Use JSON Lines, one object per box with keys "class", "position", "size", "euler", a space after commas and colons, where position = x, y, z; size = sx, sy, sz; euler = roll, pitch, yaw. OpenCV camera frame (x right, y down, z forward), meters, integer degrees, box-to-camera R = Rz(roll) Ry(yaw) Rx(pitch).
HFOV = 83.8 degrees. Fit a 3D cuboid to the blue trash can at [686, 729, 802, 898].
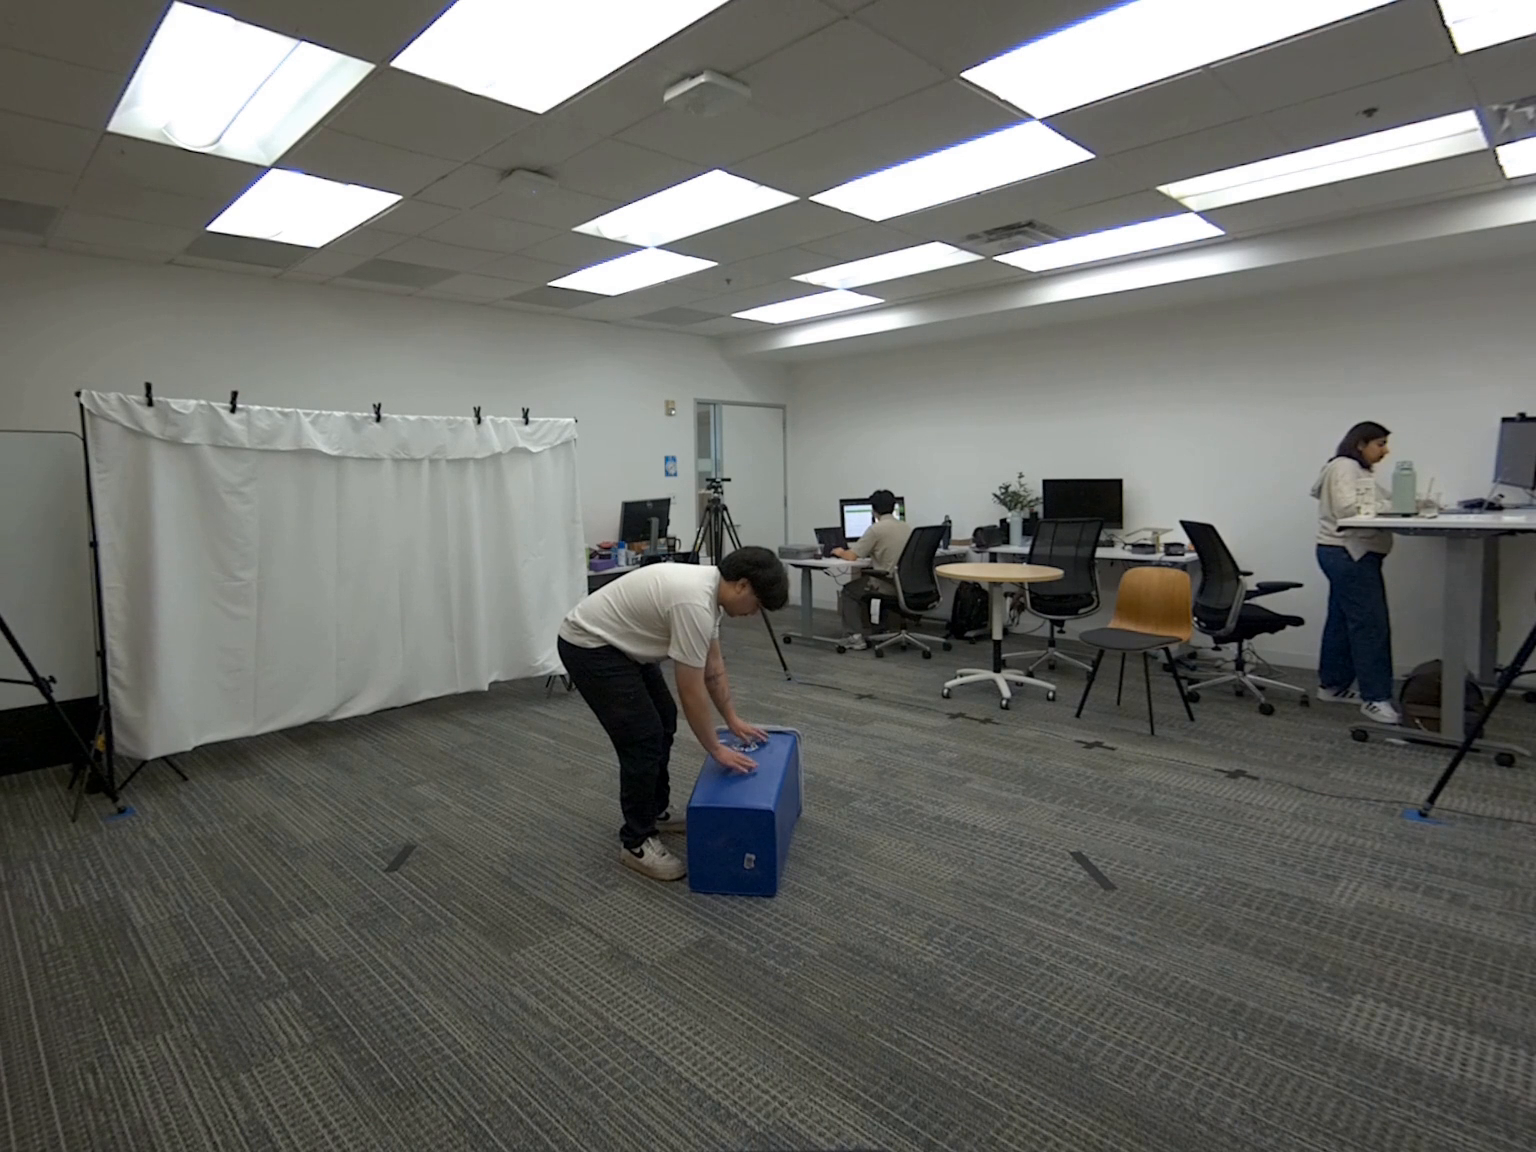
{"class": "blue trash can", "position": [-0.078, 0.860, 3.203], "size": [0.377, 0.375, 0.713], "euler": [0, 8, 6]}
